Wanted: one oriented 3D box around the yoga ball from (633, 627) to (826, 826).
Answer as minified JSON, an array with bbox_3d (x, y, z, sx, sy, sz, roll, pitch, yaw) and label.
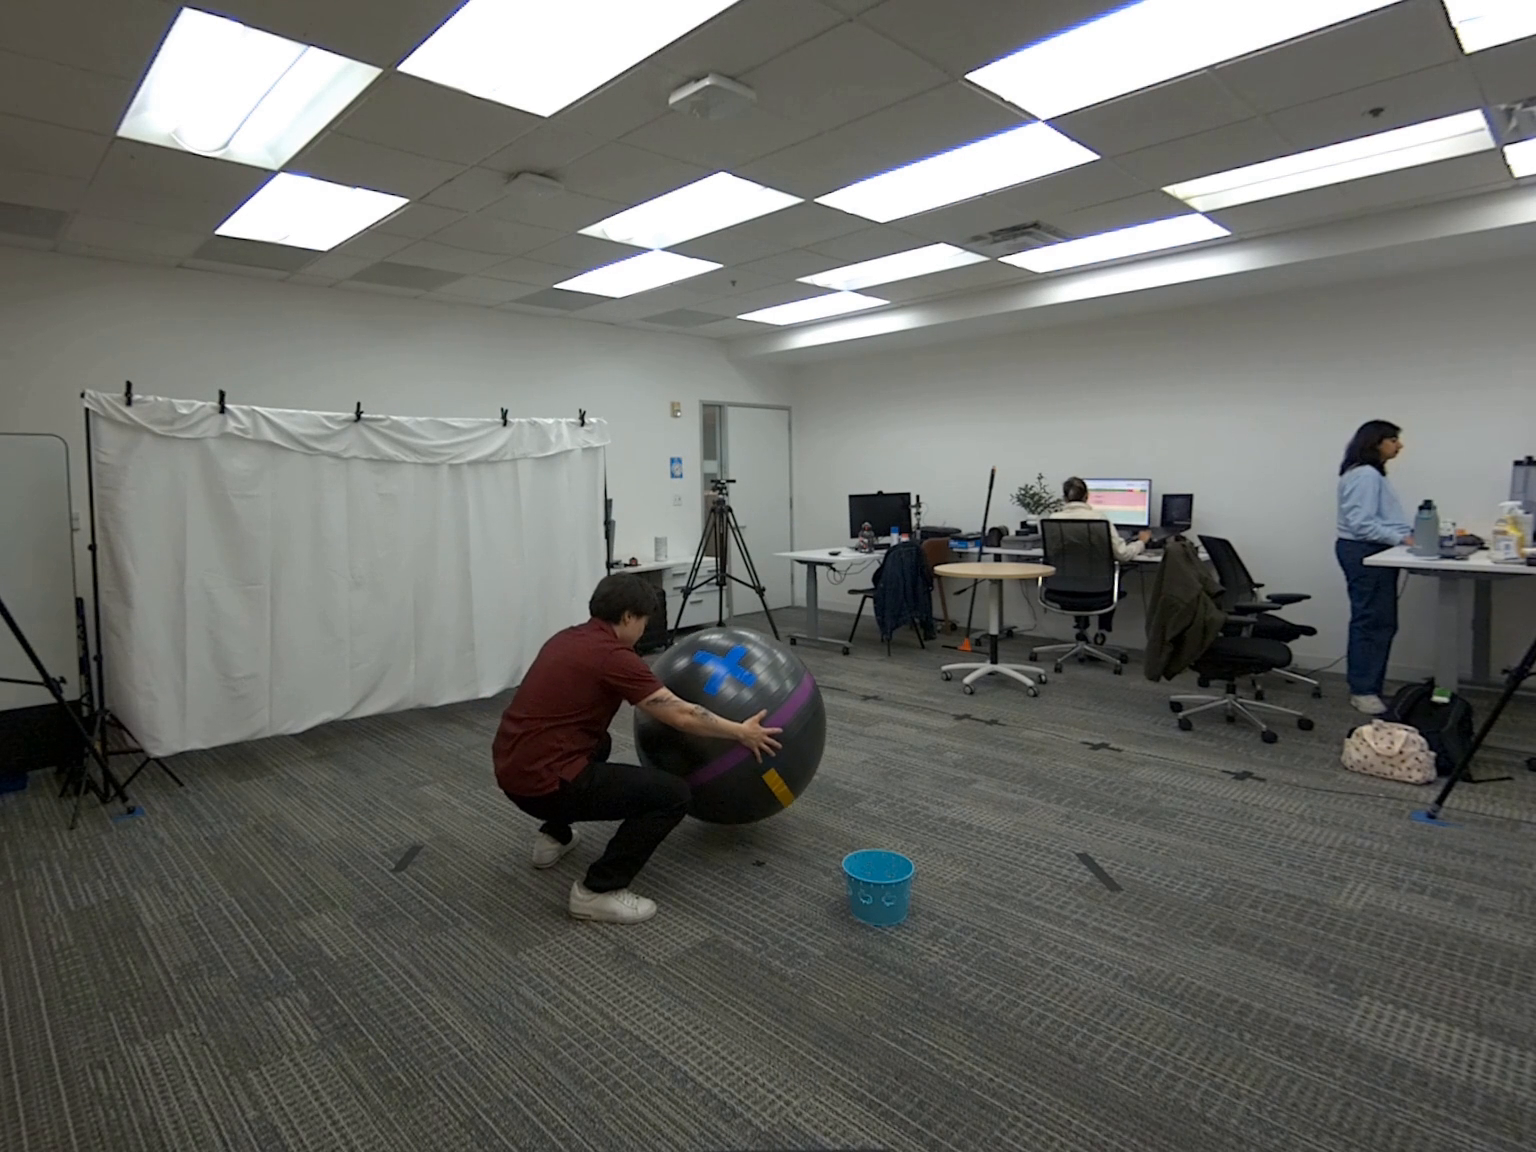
[{"bbox_3d":[-0.155,0.583,3.375,0.757,0.755,0.762,-1,5,-2],"label":"yoga ball"}]
